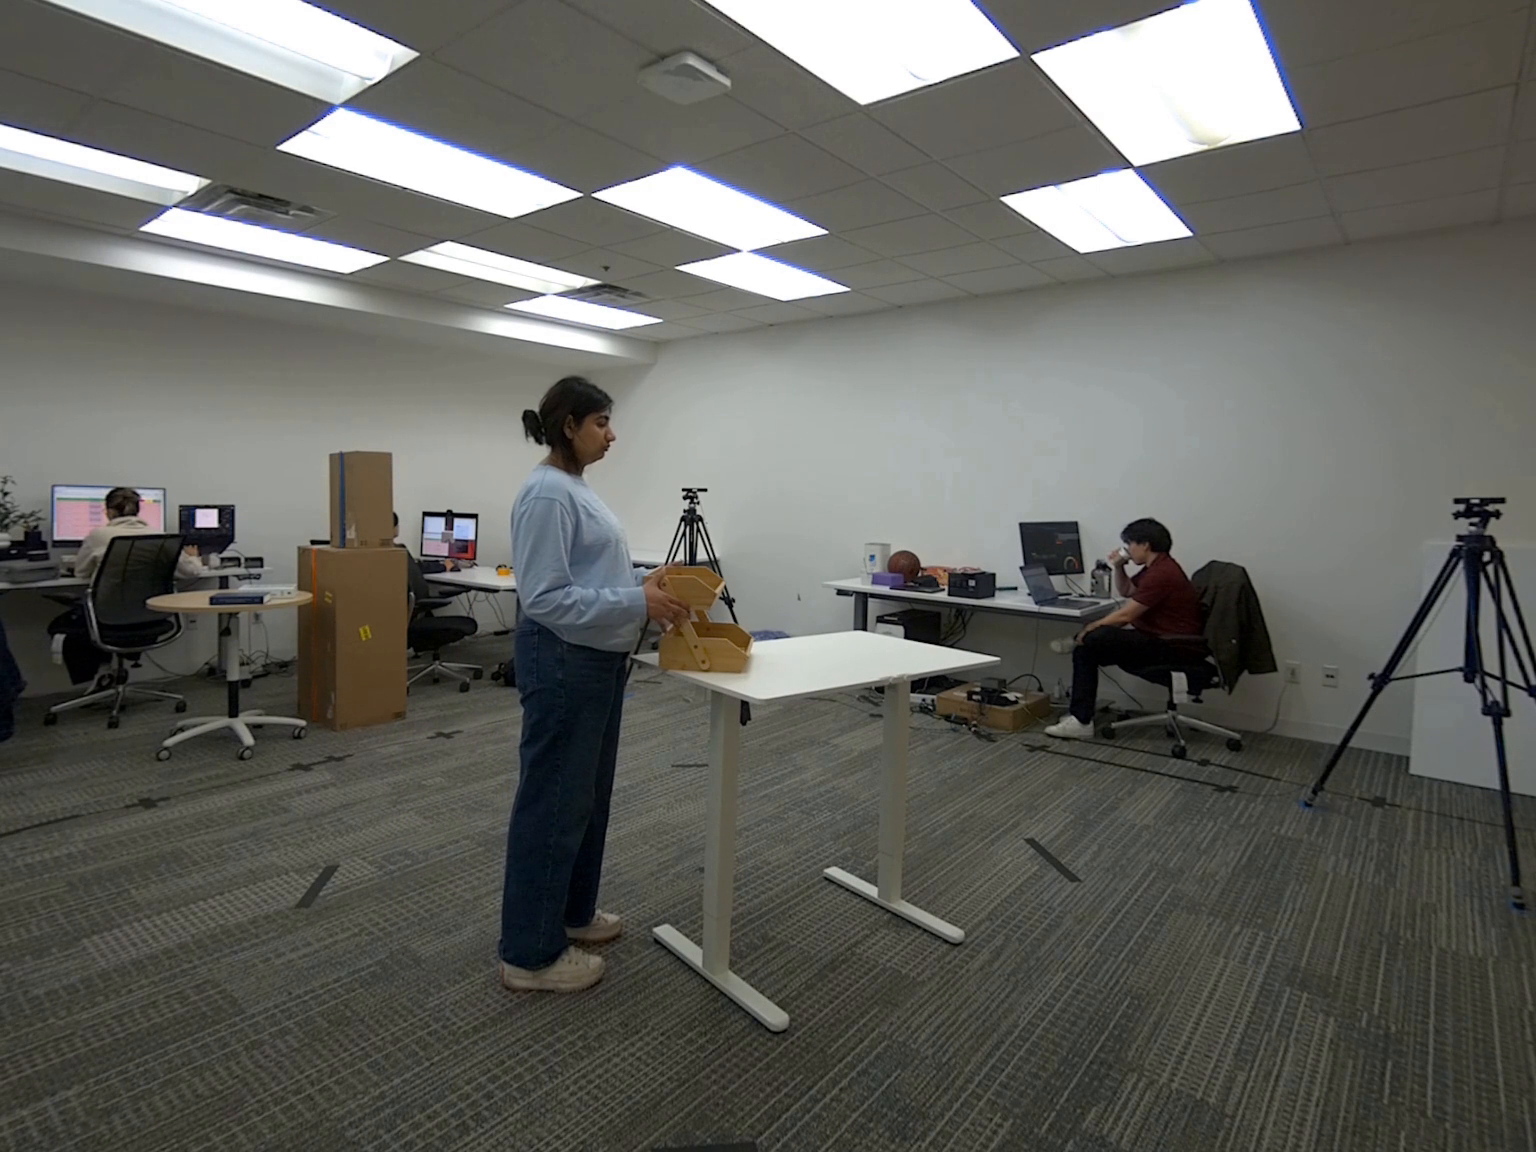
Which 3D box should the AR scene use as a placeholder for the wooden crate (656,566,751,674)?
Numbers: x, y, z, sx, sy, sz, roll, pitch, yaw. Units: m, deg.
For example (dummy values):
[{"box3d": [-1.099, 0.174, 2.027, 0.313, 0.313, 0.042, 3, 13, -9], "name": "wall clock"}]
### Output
[{"box3d": [-0.201, 0.115, 2.486, 0.303, 0.272, 0.324, 0, 4, 3], "name": "wooden crate"}]
